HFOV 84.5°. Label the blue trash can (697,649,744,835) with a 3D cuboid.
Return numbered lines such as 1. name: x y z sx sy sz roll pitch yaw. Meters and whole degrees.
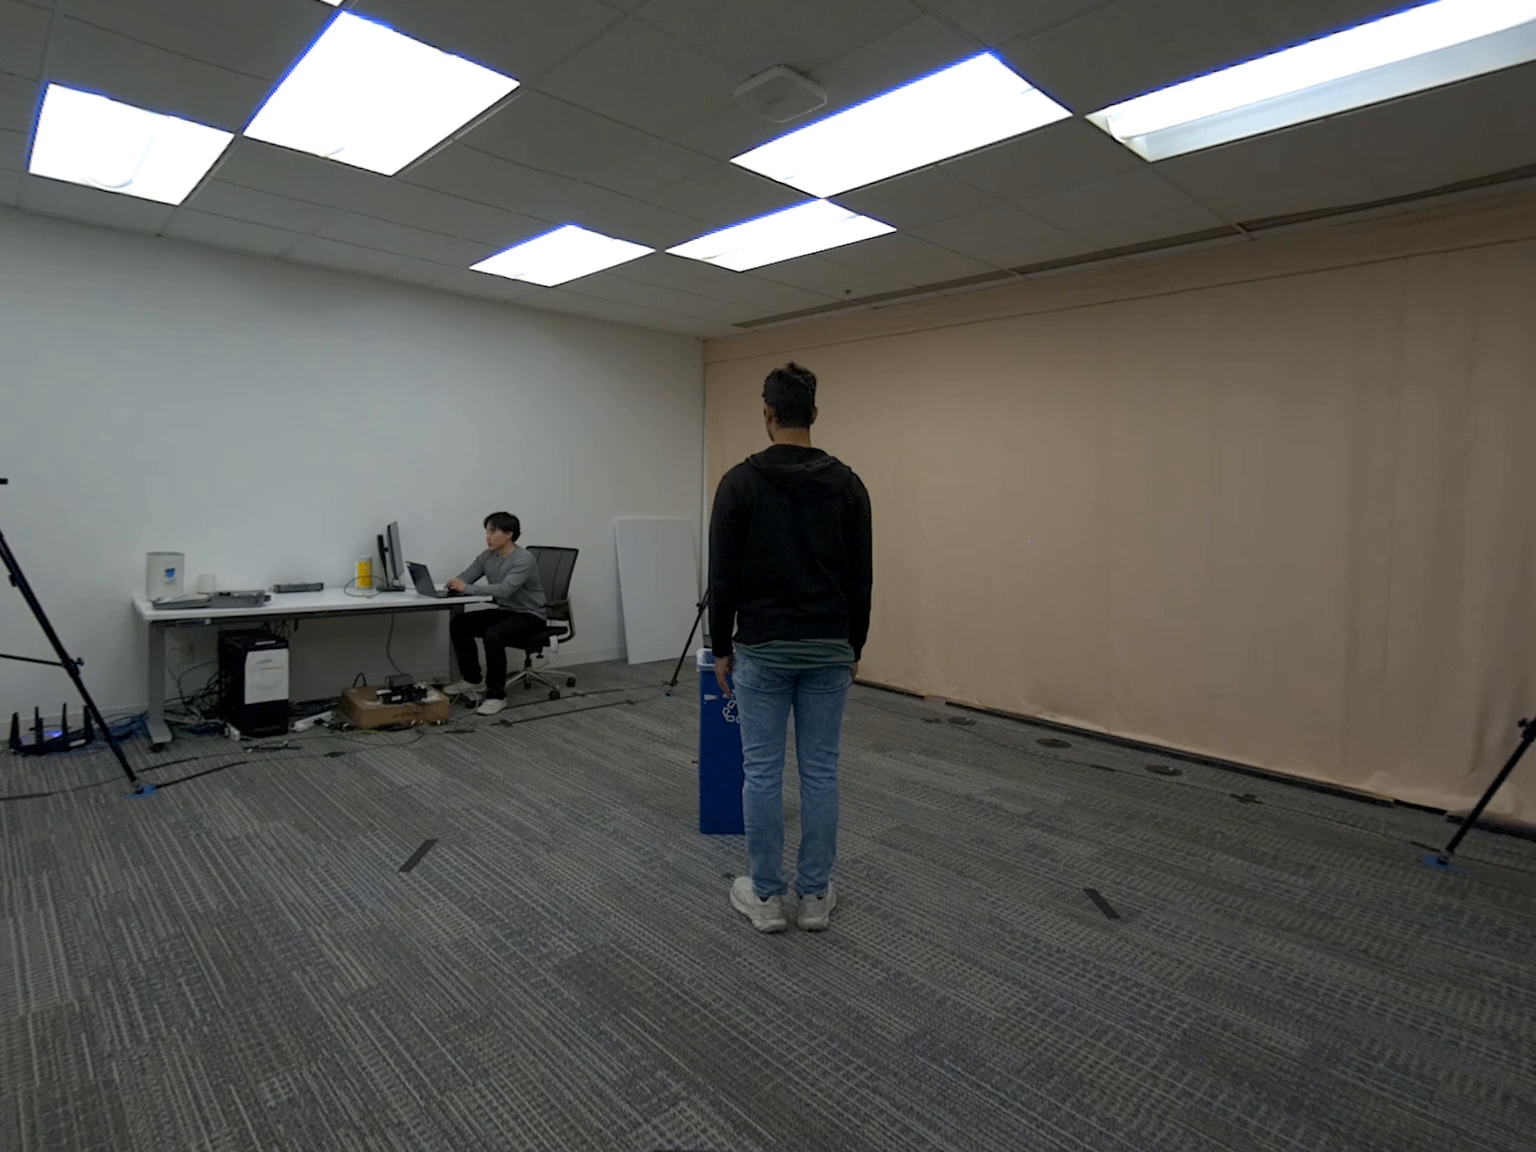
1. blue trash can: -0.135 0.707 3.623 0.377 0.712 0.376 2 3 -4
